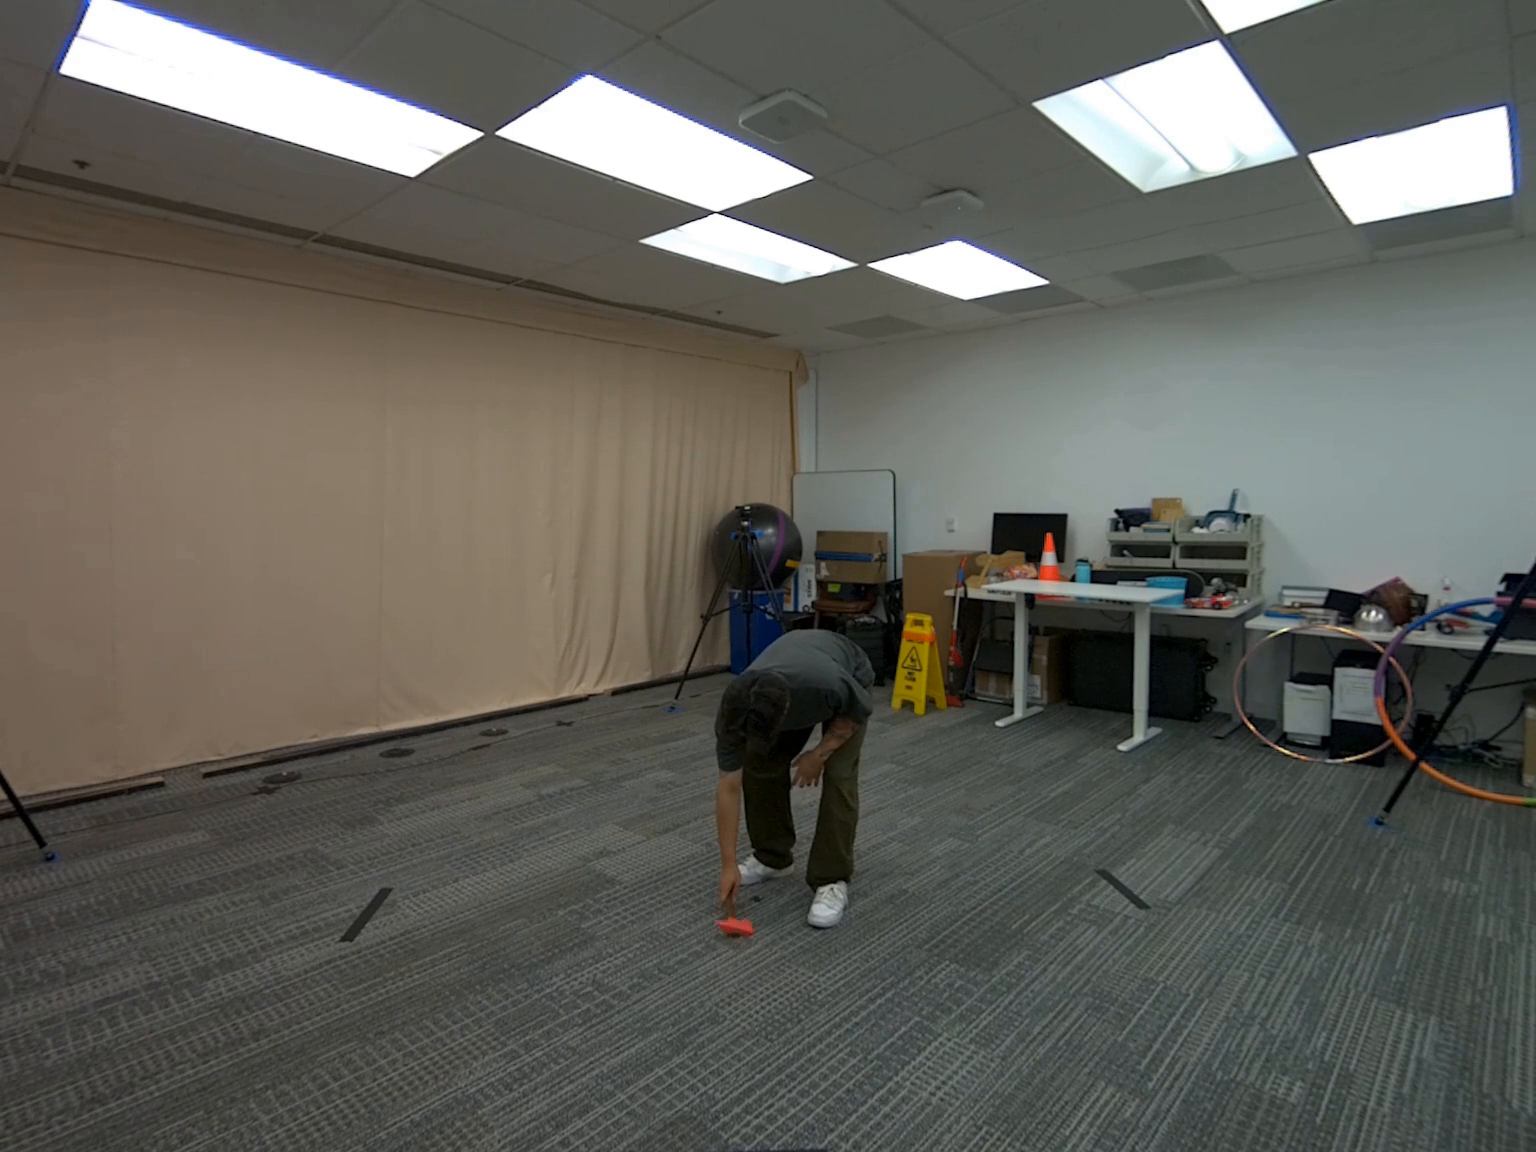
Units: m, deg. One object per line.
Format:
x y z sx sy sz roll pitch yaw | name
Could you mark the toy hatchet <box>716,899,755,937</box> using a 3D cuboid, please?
-0.089 1.104 2.833 0.132 0.029 0.269 18 13 4 | toy hatchet
